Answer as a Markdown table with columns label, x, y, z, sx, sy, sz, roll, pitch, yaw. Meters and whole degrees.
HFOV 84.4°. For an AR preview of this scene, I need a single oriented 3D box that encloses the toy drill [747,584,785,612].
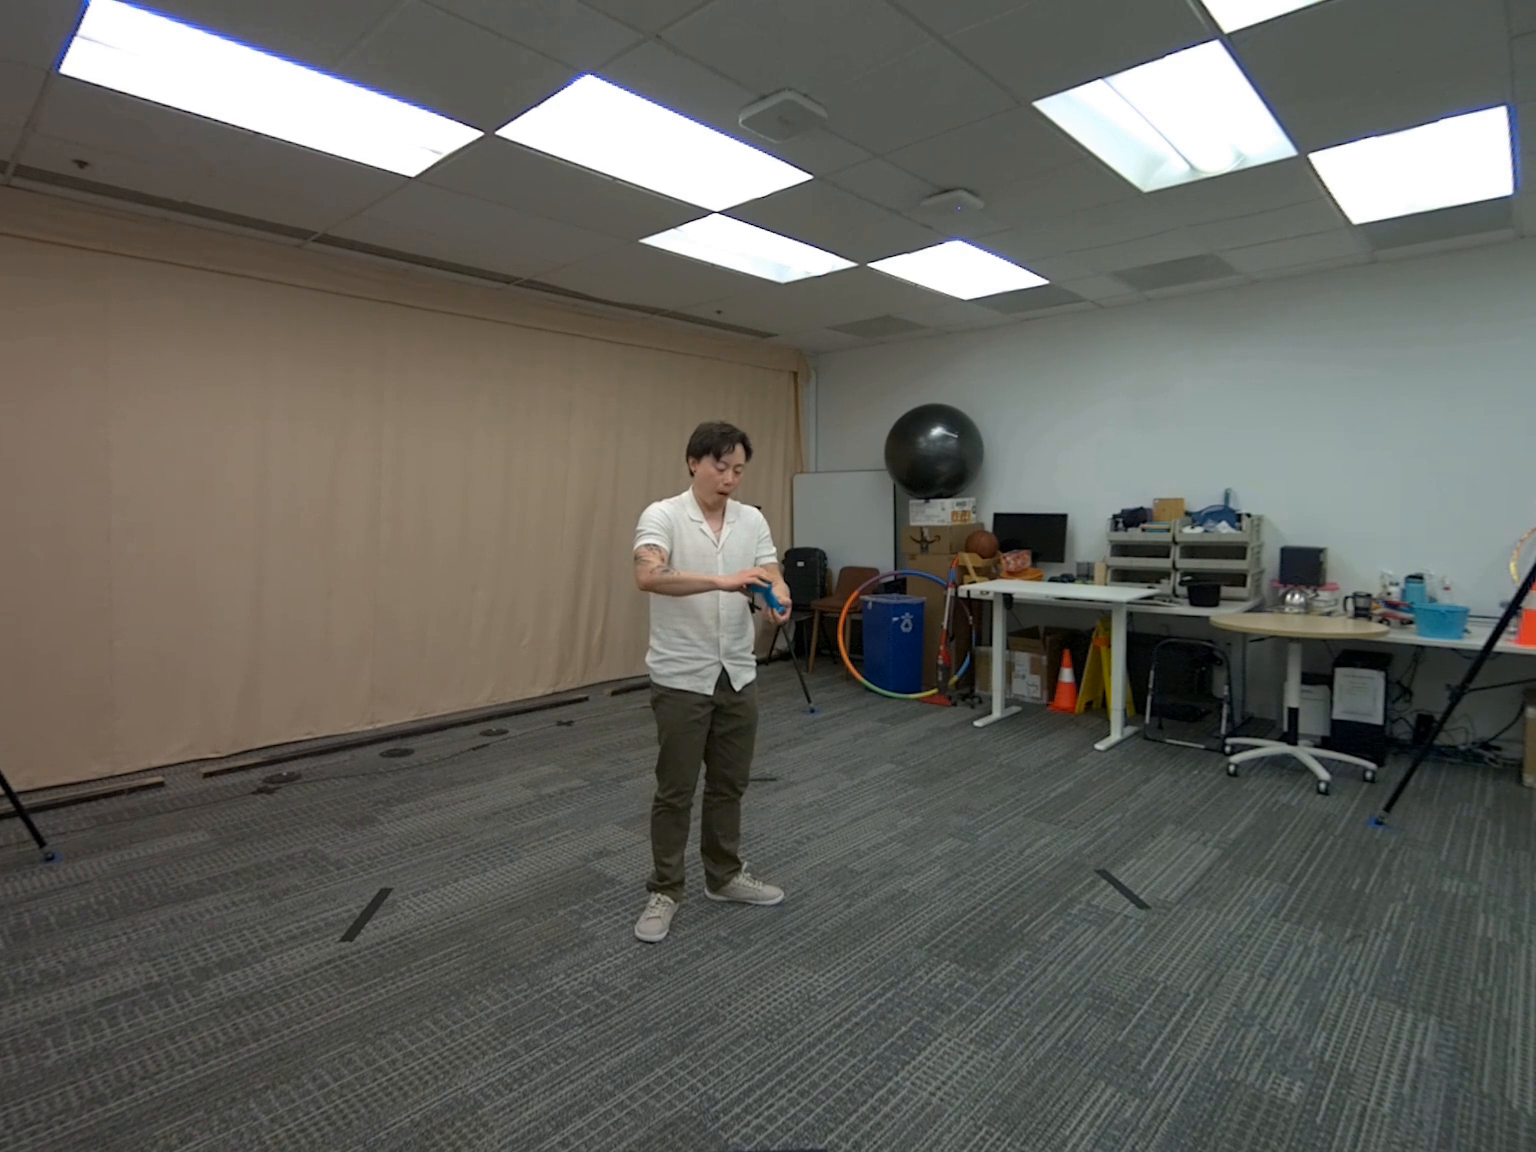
| label | x | y | z | sx | sy | sz | roll | pitch | yaw |
| --- | --- | --- | --- | --- | --- | --- | --- | --- | --- |
| toy drill | -0.027 | 0.051 | 2.557 | 0.060 | 0.143 | 0.174 | -36 | 19 | -17 |
